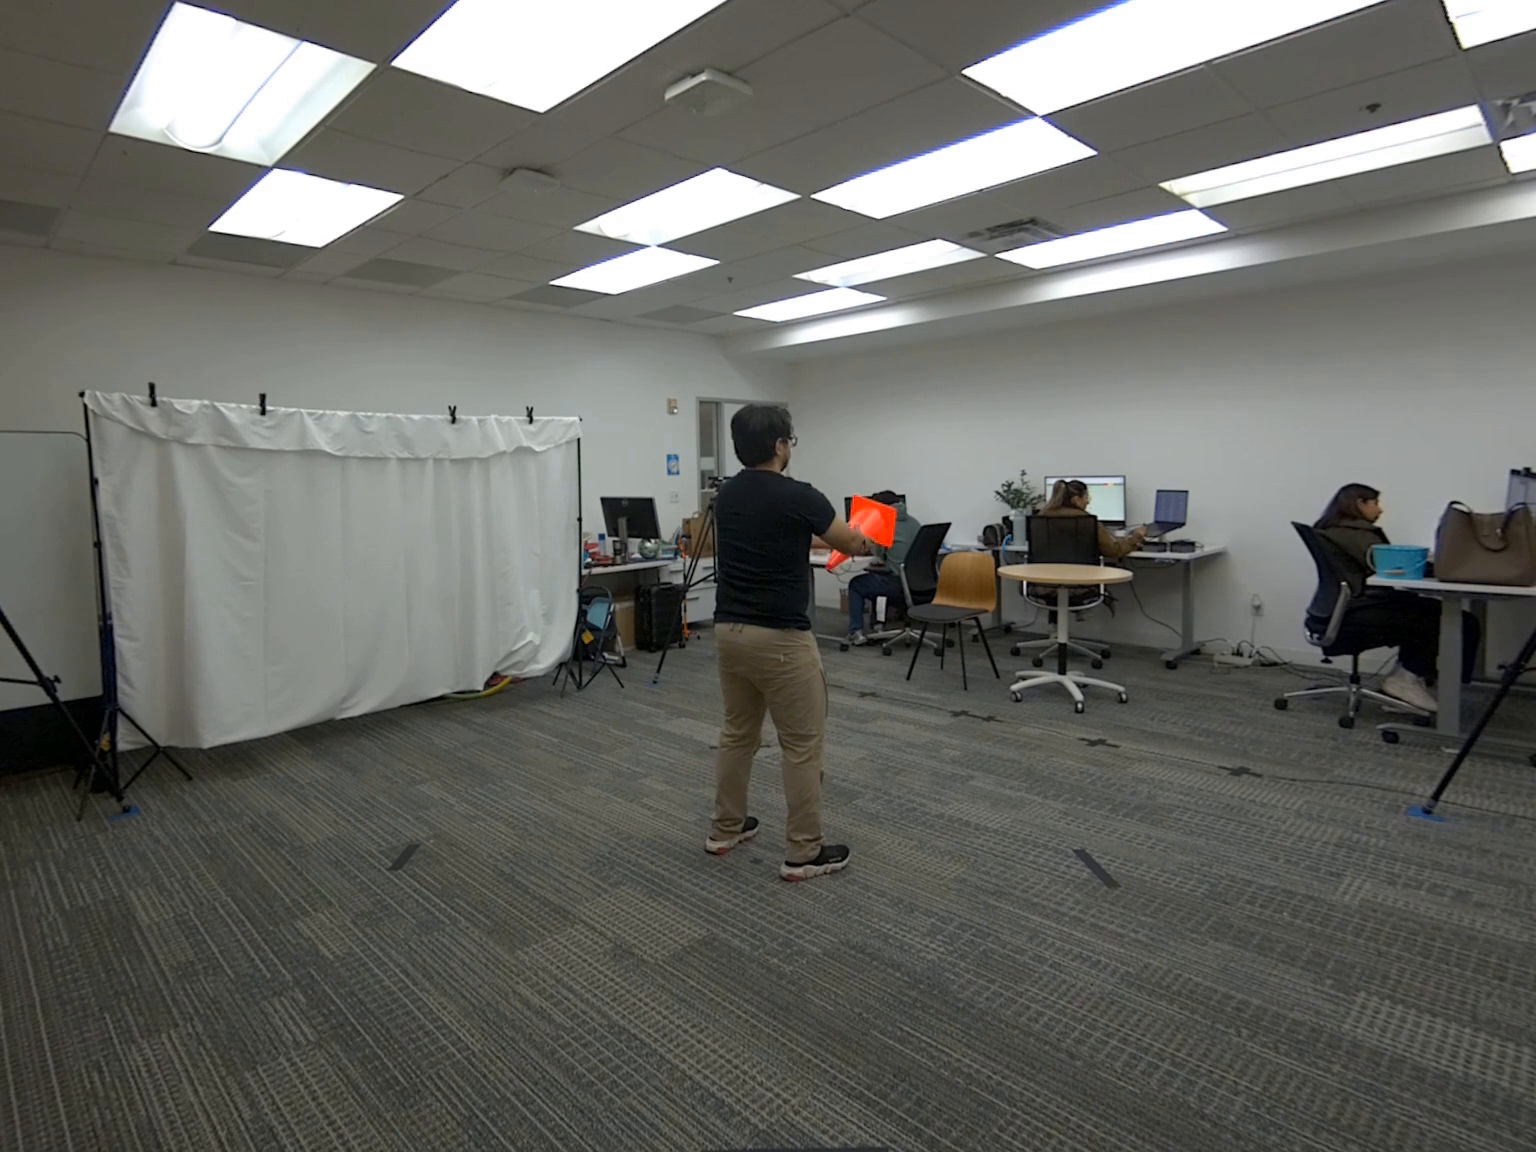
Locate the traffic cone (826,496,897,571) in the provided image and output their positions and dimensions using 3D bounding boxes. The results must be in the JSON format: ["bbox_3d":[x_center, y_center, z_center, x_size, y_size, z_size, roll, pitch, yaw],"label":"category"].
[{"bbox_3d":[0.332,-0.125,3.422,0.211,0.198,0.382,23,41,25],"label":"traffic cone"}]
